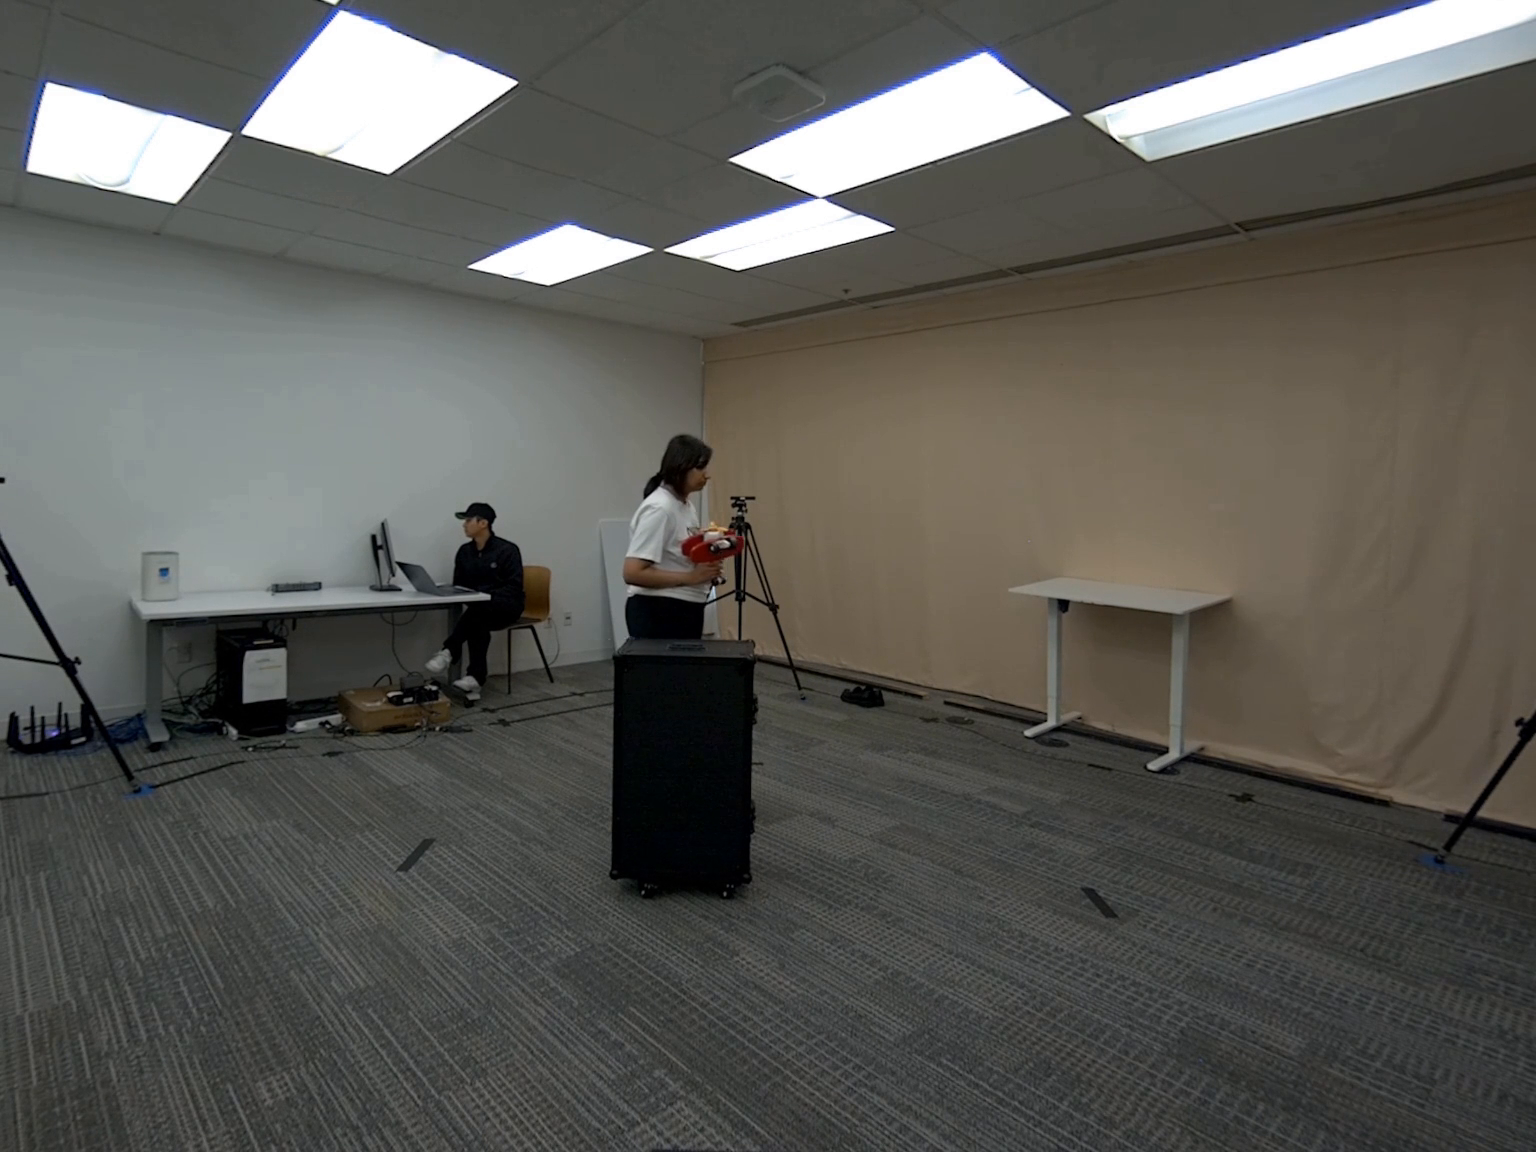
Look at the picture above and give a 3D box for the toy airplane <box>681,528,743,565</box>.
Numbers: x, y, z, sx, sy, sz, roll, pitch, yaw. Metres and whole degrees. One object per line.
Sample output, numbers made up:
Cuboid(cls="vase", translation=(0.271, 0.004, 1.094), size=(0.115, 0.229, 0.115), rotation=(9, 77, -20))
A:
Cuboid(cls="toy airplane", translation=(-0.253, -0.088, 3.486), size=(0.244, 0.258, 0.161), rotation=(15, 25, -46))
